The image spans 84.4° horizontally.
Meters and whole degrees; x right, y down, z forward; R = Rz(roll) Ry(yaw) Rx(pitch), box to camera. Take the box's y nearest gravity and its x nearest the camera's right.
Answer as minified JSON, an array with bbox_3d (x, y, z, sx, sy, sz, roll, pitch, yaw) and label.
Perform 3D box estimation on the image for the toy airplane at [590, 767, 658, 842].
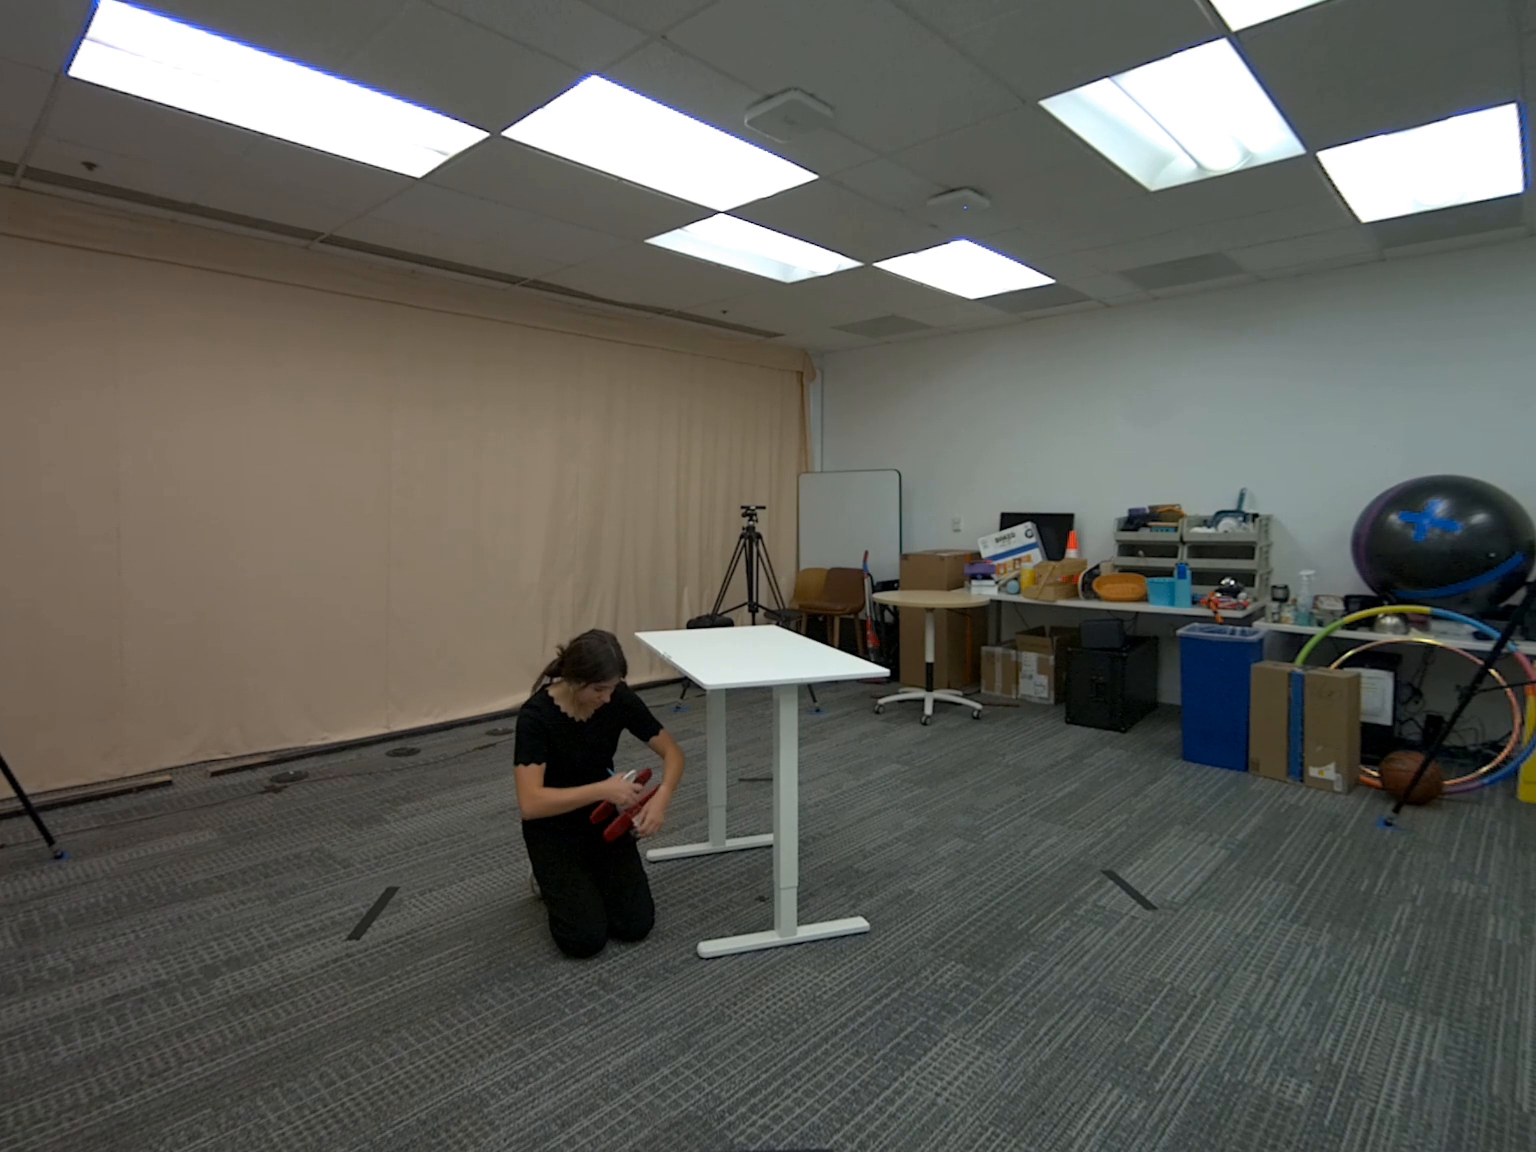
[{"bbox_3d":[-0.436,0.731,2.733,0.244,0.257,0.162,-10,28,-38],"label":"toy airplane"}]
